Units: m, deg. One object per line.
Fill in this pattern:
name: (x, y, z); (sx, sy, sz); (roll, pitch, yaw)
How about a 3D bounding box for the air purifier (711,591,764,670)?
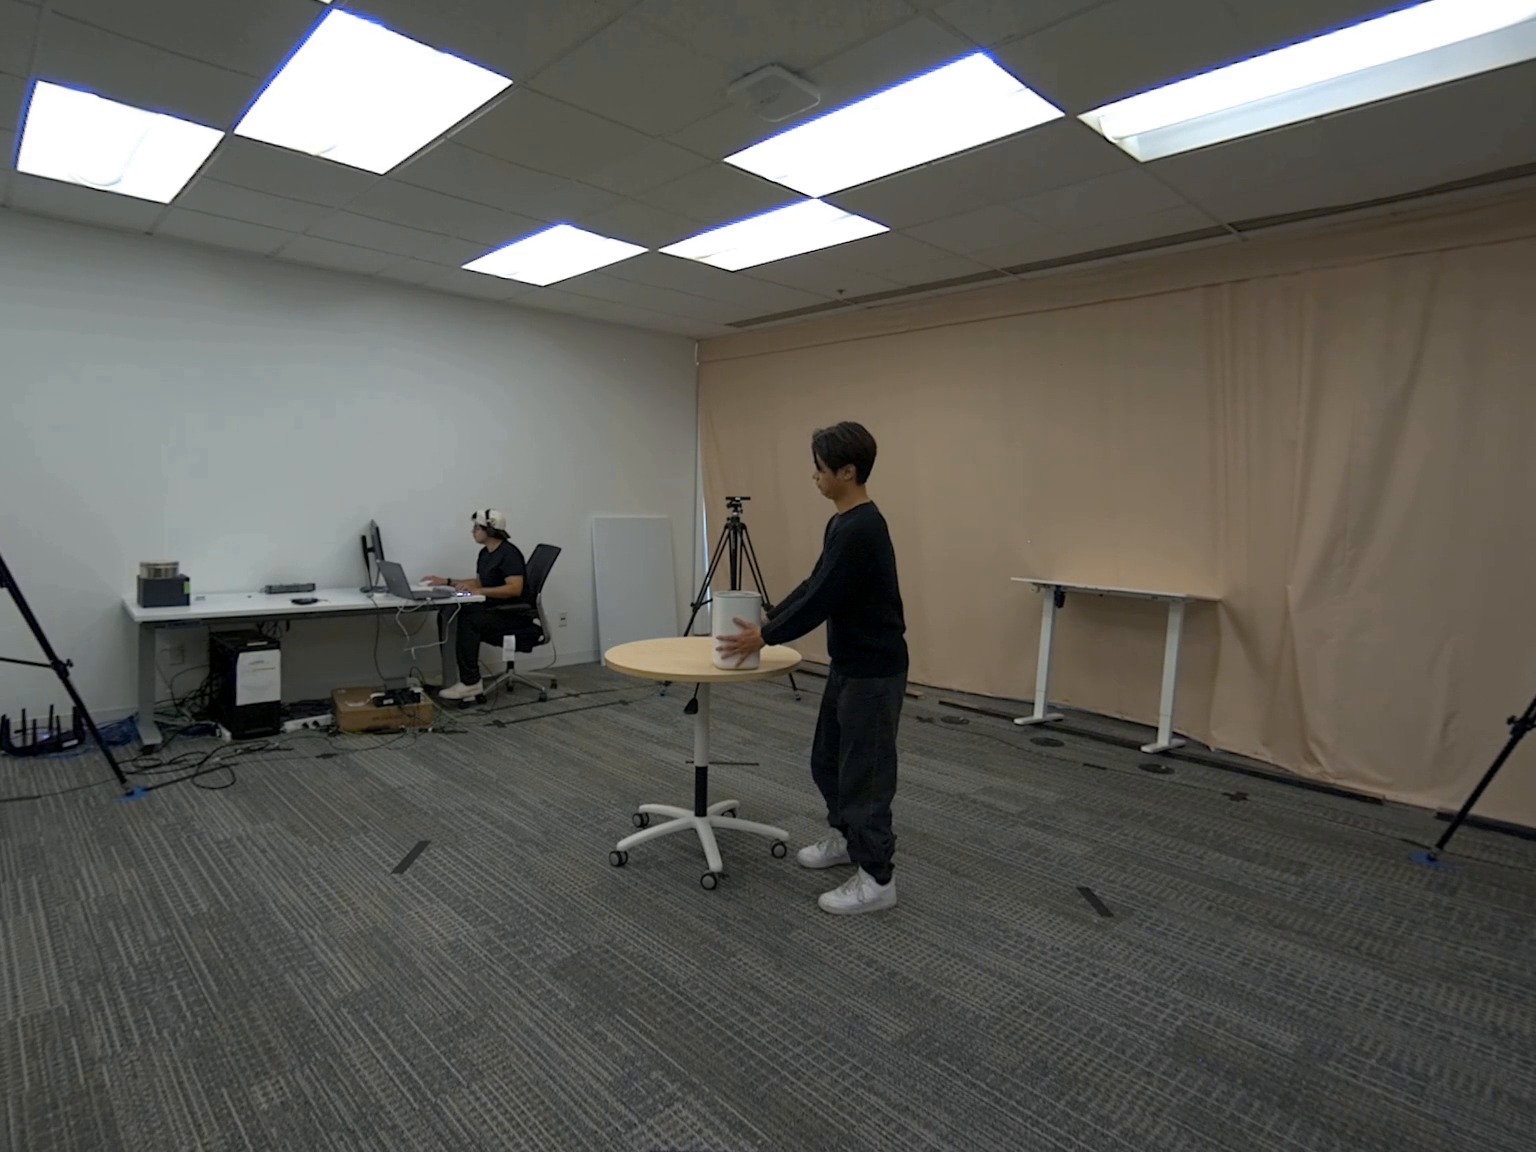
air purifier: (-0.117, 0.195, 3.058); (0.170, 0.265, 0.173); (1, 3, -8)
